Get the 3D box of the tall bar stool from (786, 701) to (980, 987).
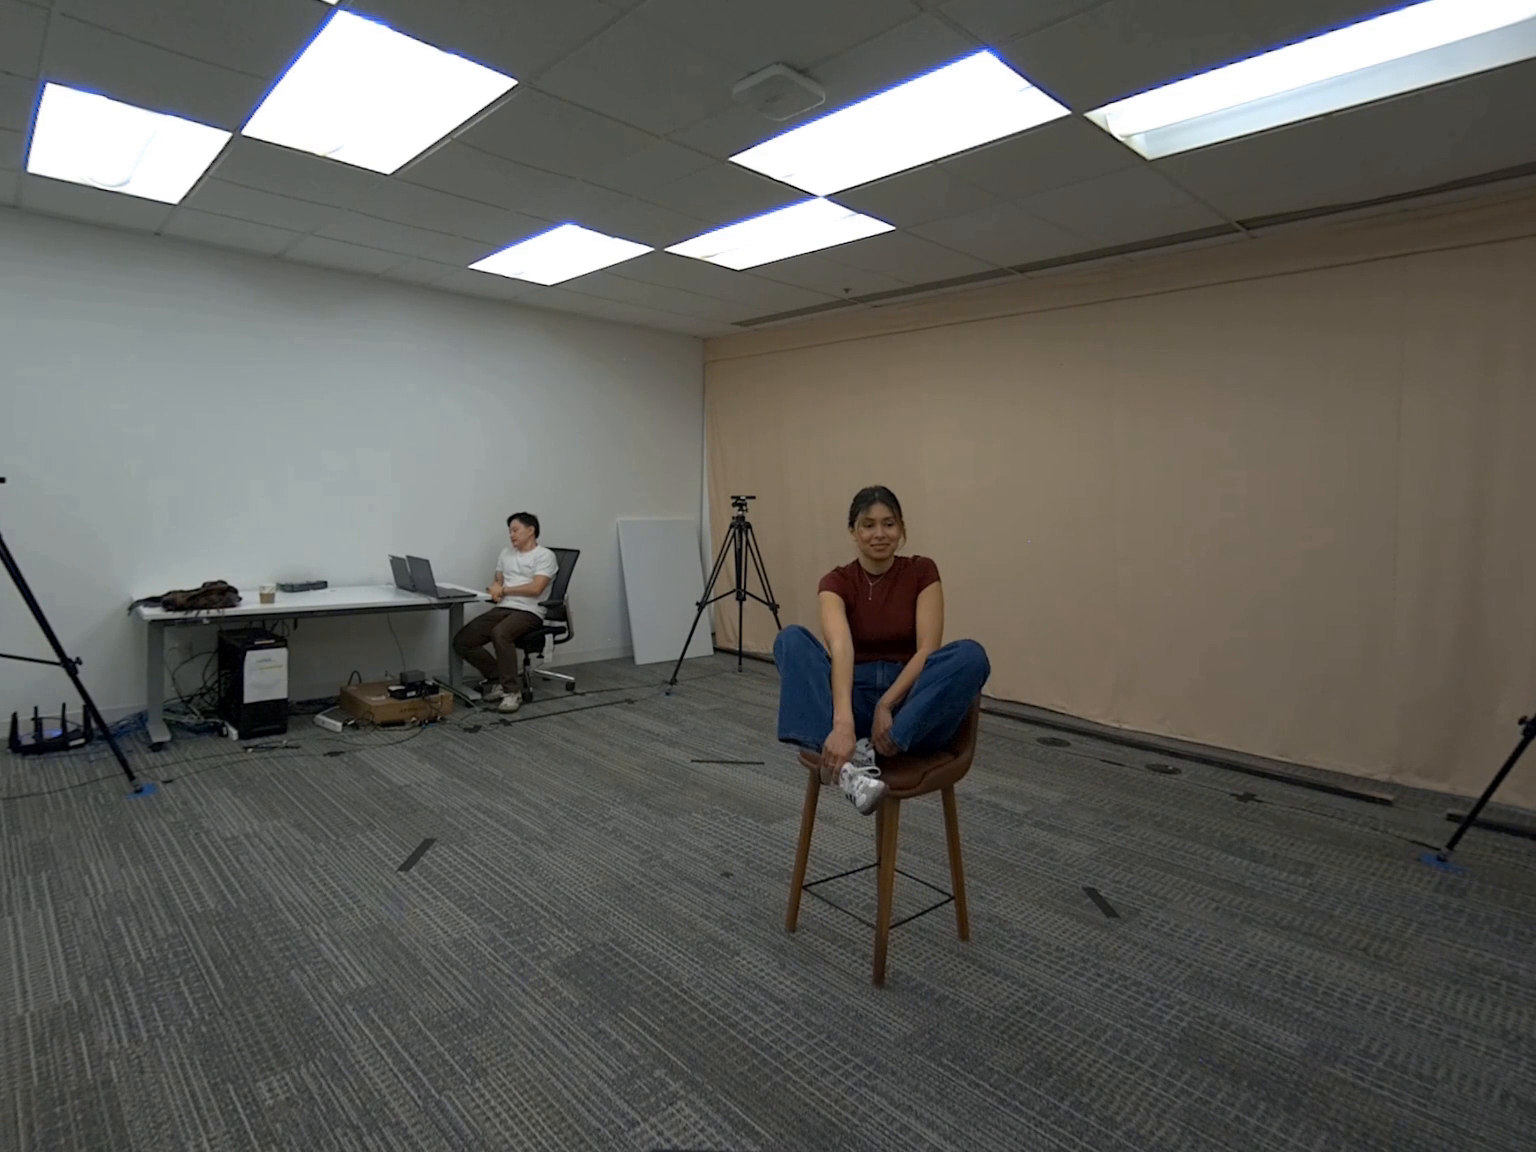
[{"bbox_3d":[0.374,0.720,2.669,0.456,0.888,0.468,1,4,-39],"label":"tall bar stool"}]
